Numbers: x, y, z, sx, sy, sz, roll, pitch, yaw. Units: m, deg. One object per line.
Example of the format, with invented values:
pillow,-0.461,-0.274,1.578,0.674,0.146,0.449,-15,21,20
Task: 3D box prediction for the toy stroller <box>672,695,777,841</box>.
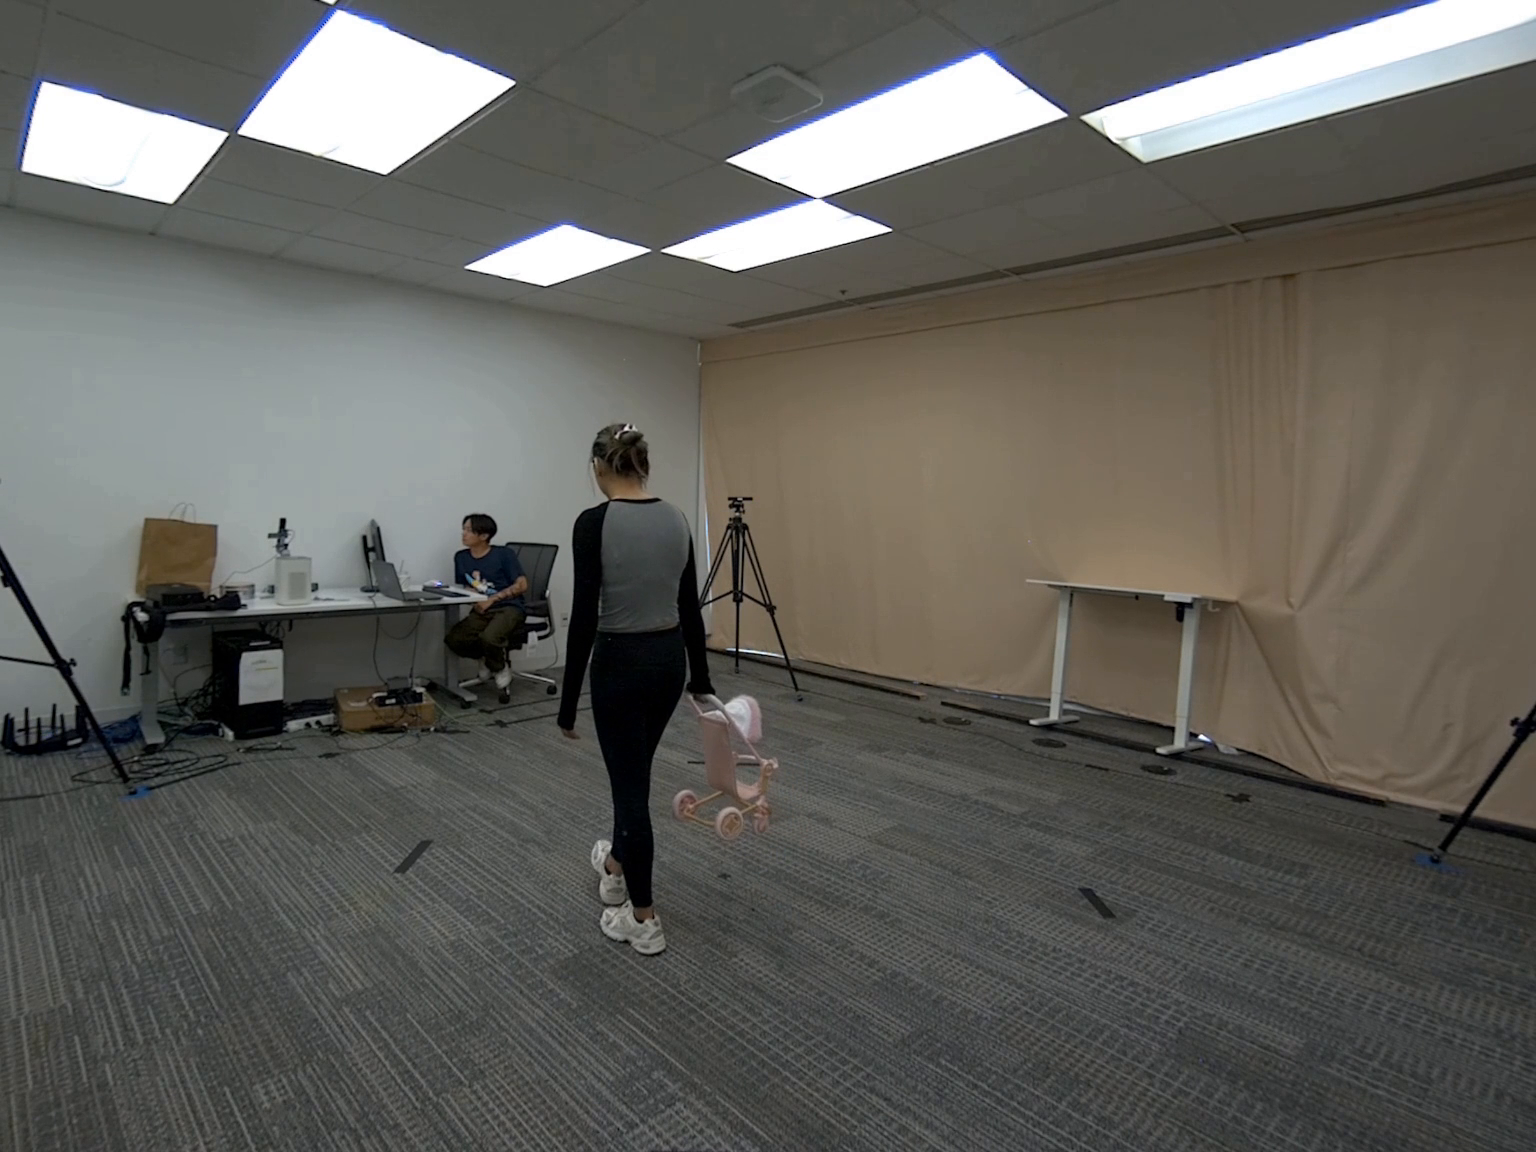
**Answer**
toy stroller,-0.127,0.657,2.916,0.333,0.536,0.287,2,-2,-36
